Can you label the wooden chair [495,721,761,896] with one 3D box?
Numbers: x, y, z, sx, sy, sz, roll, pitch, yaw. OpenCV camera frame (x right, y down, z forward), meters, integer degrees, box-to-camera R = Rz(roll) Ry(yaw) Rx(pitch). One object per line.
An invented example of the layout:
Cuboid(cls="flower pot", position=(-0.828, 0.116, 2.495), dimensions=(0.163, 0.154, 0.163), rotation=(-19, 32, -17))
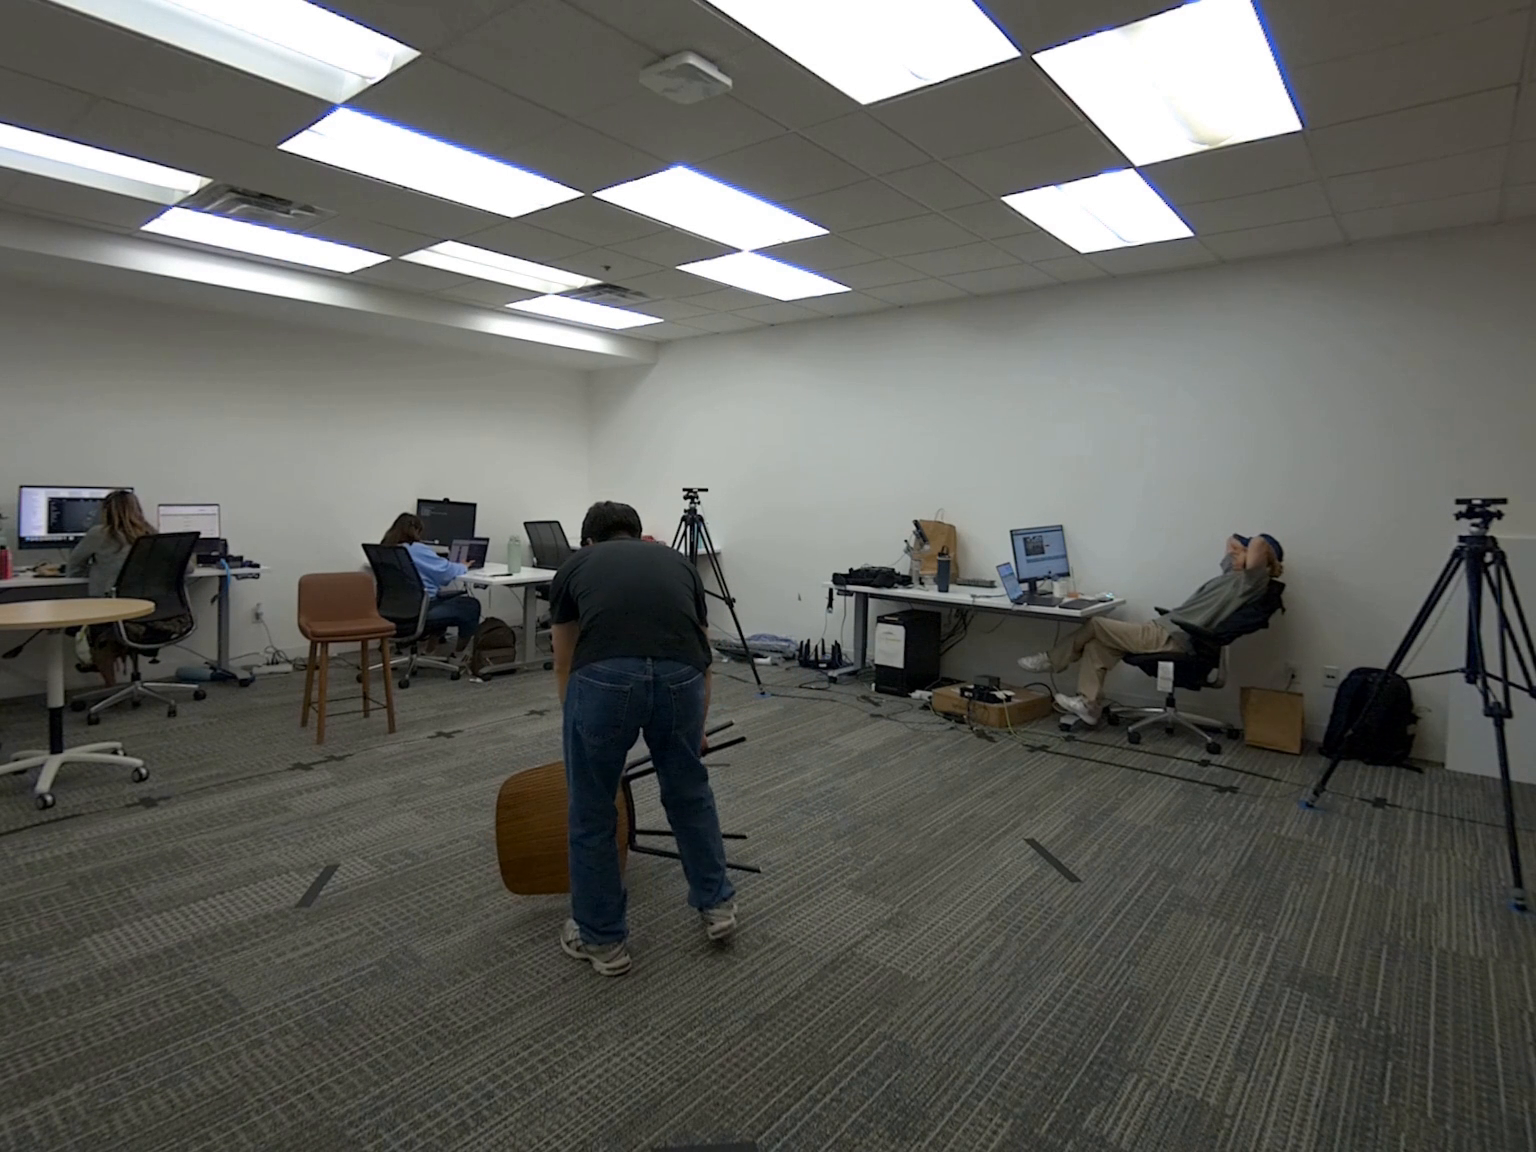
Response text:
Cuboid(cls="wooden chair", position=(-0.516, 0.820, 3.034), dimensions=(0.870, 0.481, 0.525), rotation=(-7, -4, -10))
